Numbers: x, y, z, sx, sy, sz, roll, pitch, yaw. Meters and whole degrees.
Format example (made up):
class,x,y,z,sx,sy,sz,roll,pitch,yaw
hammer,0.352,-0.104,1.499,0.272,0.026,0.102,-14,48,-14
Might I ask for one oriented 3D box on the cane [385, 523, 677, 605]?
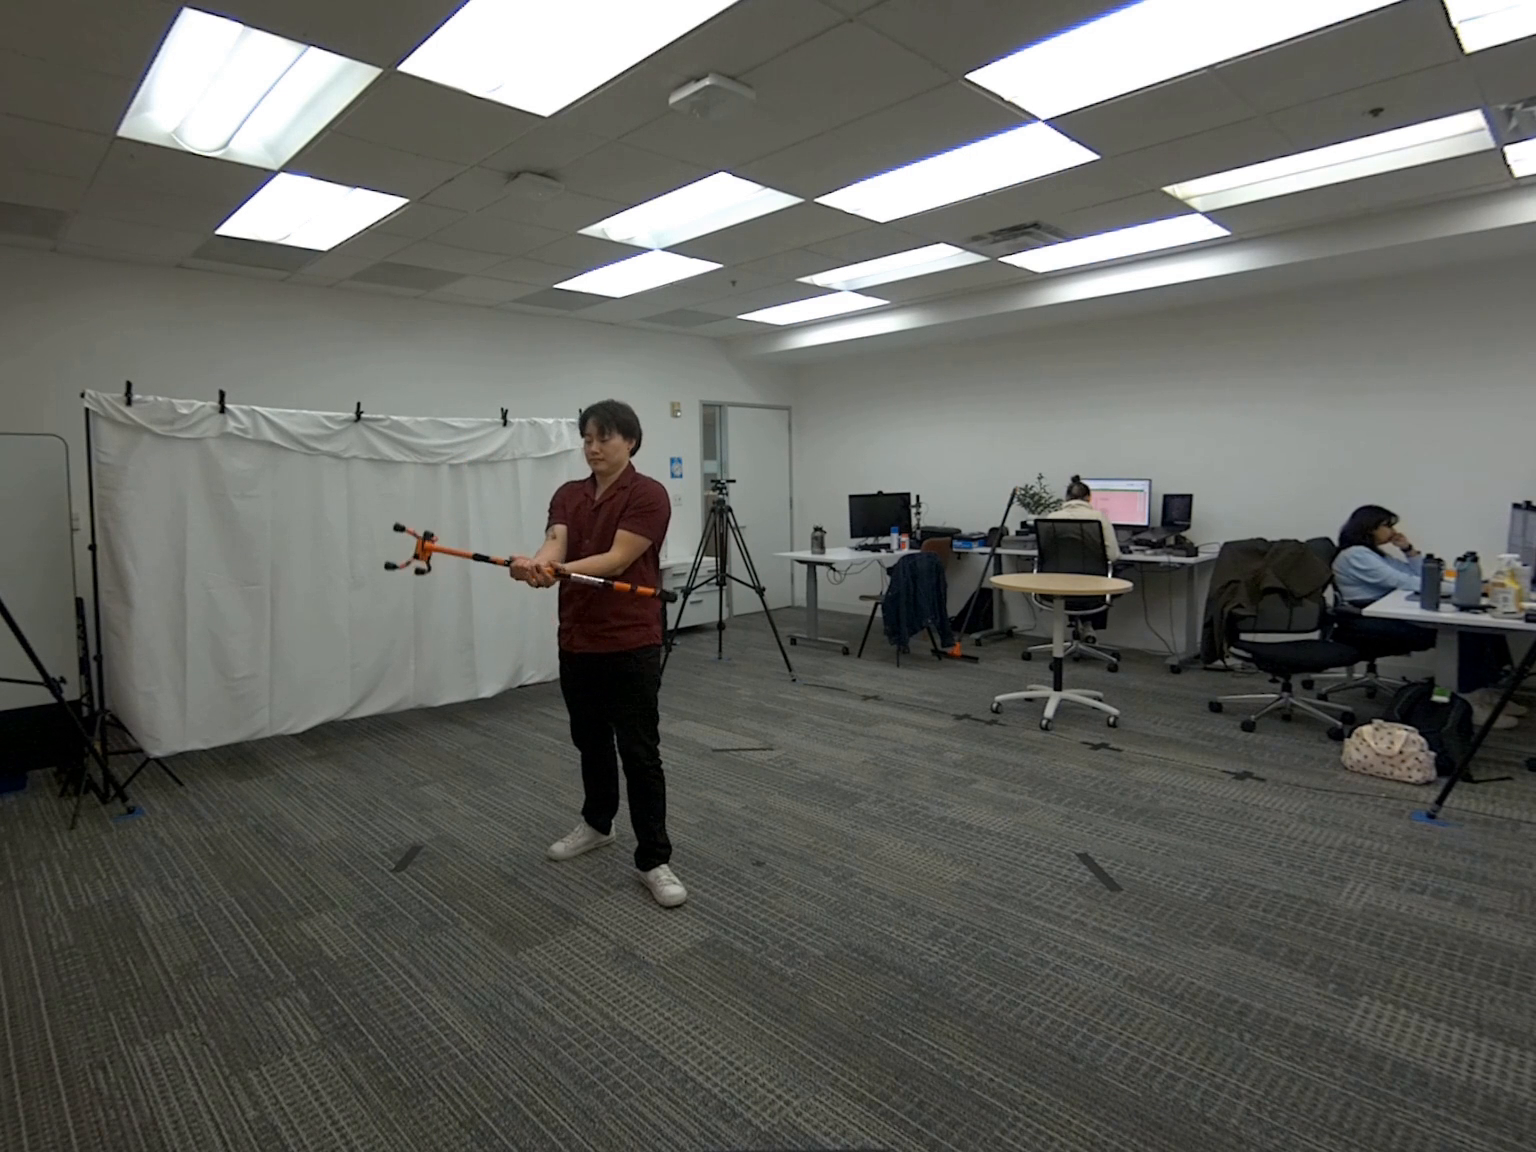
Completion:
class,x,y,z,sx,sy,sz,roll,pitch,yaw
cane,-0.719,0.001,2.649,0.920,0.152,0.203,11,-5,12
